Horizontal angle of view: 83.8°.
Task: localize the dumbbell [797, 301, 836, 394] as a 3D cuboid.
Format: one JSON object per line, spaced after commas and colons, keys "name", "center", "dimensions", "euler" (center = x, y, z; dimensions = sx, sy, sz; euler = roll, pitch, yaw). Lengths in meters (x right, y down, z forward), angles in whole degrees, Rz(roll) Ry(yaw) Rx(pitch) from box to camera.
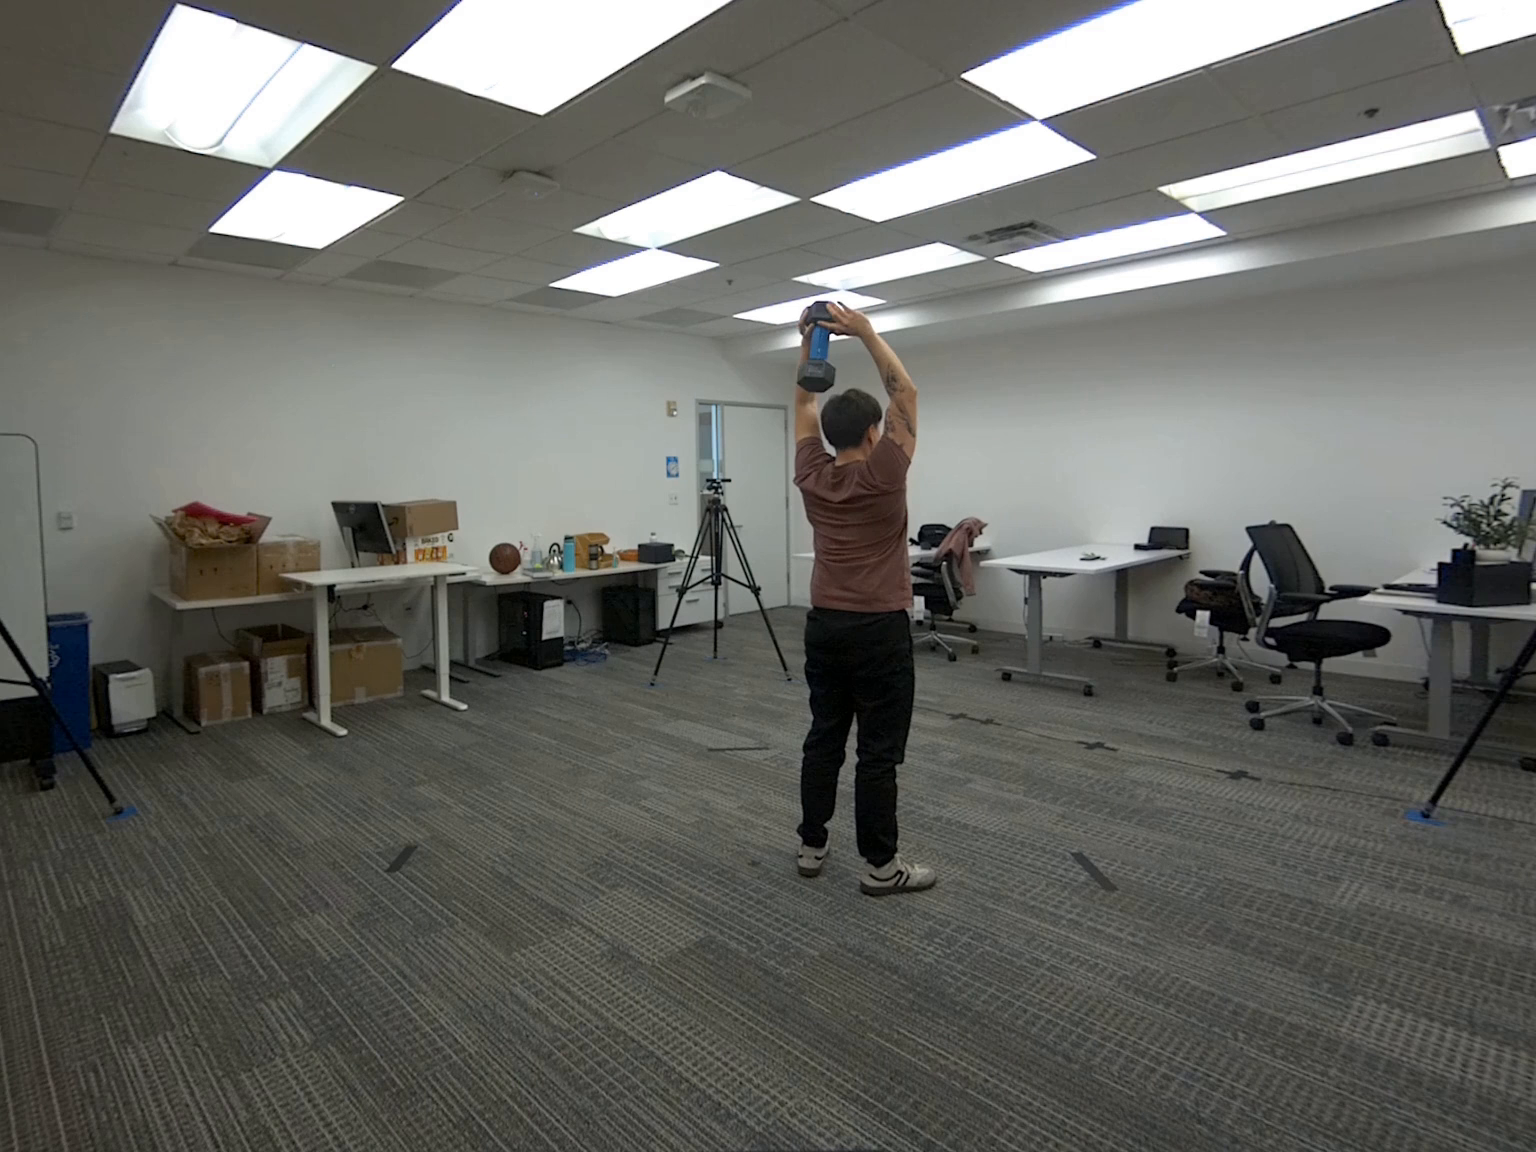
{"name": "dumbbell", "center": [0.170, -0.744, 2.793], "dimensions": [0.111, 0.297, 0.118], "euler": [-6, -19, 45]}
